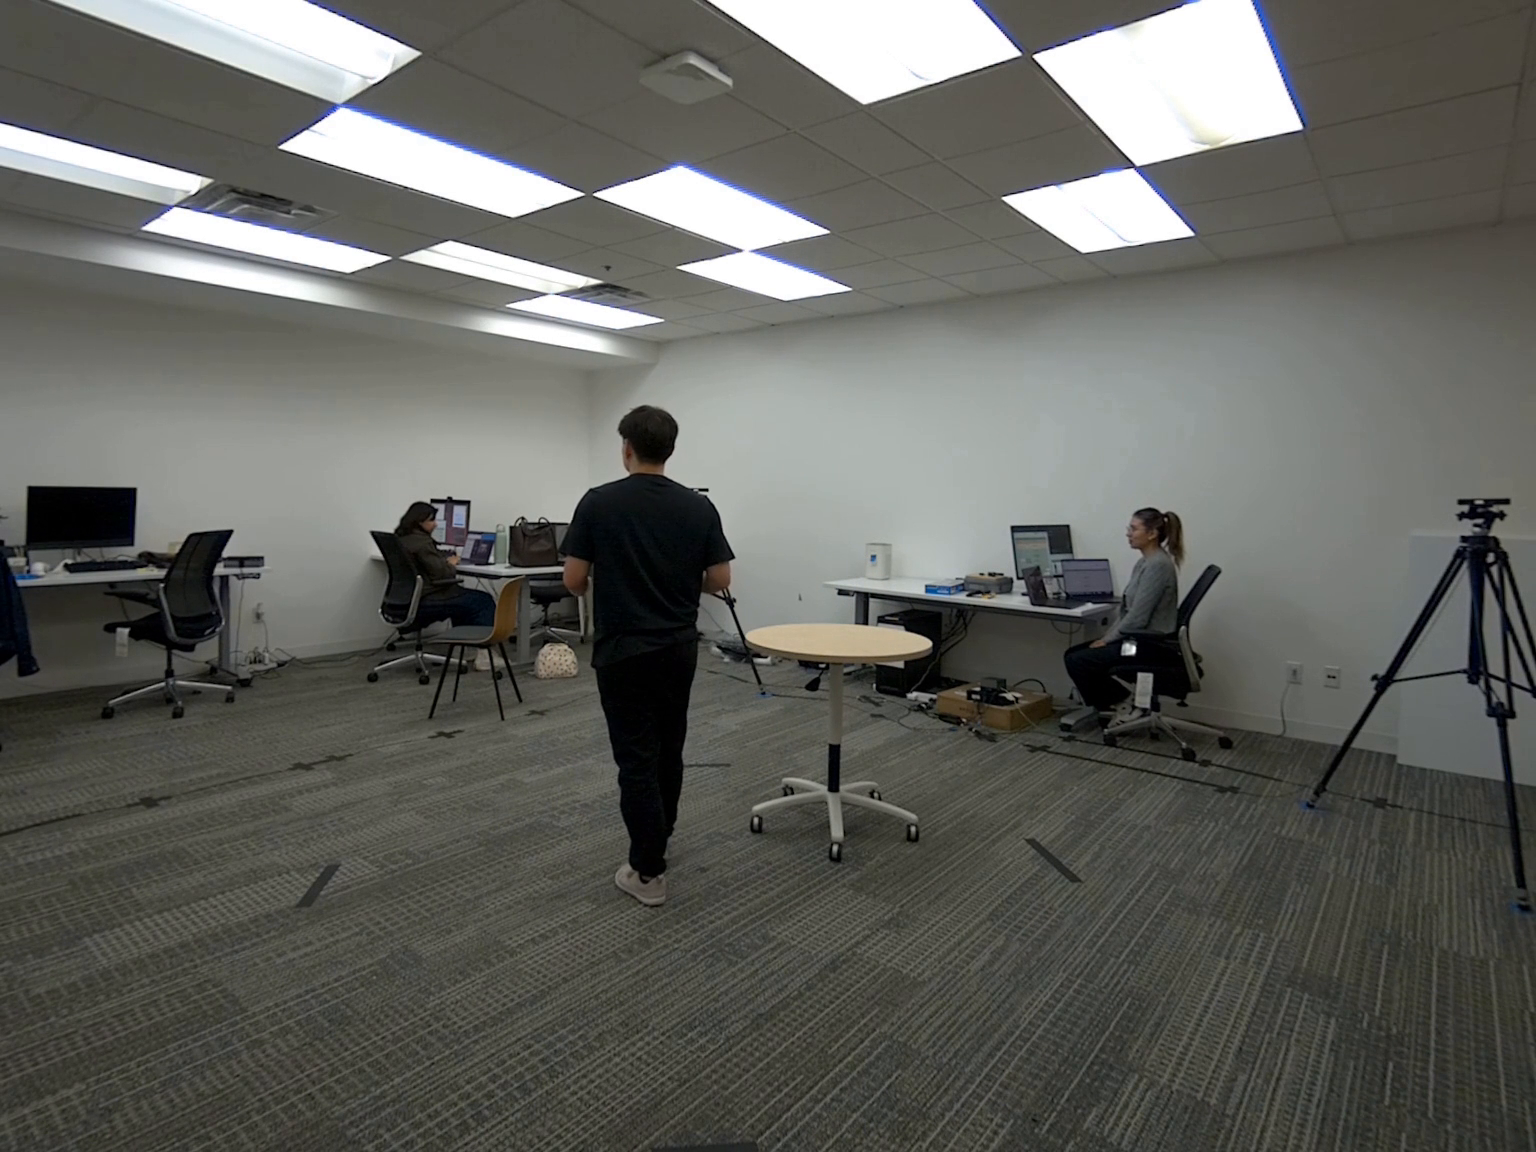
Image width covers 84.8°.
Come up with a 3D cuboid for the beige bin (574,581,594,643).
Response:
[{"bbox_3d":[-0.524,0.053,3.270,0.416,0.389,0.186,-2,-35,-14],"label":"beige bin"}]
